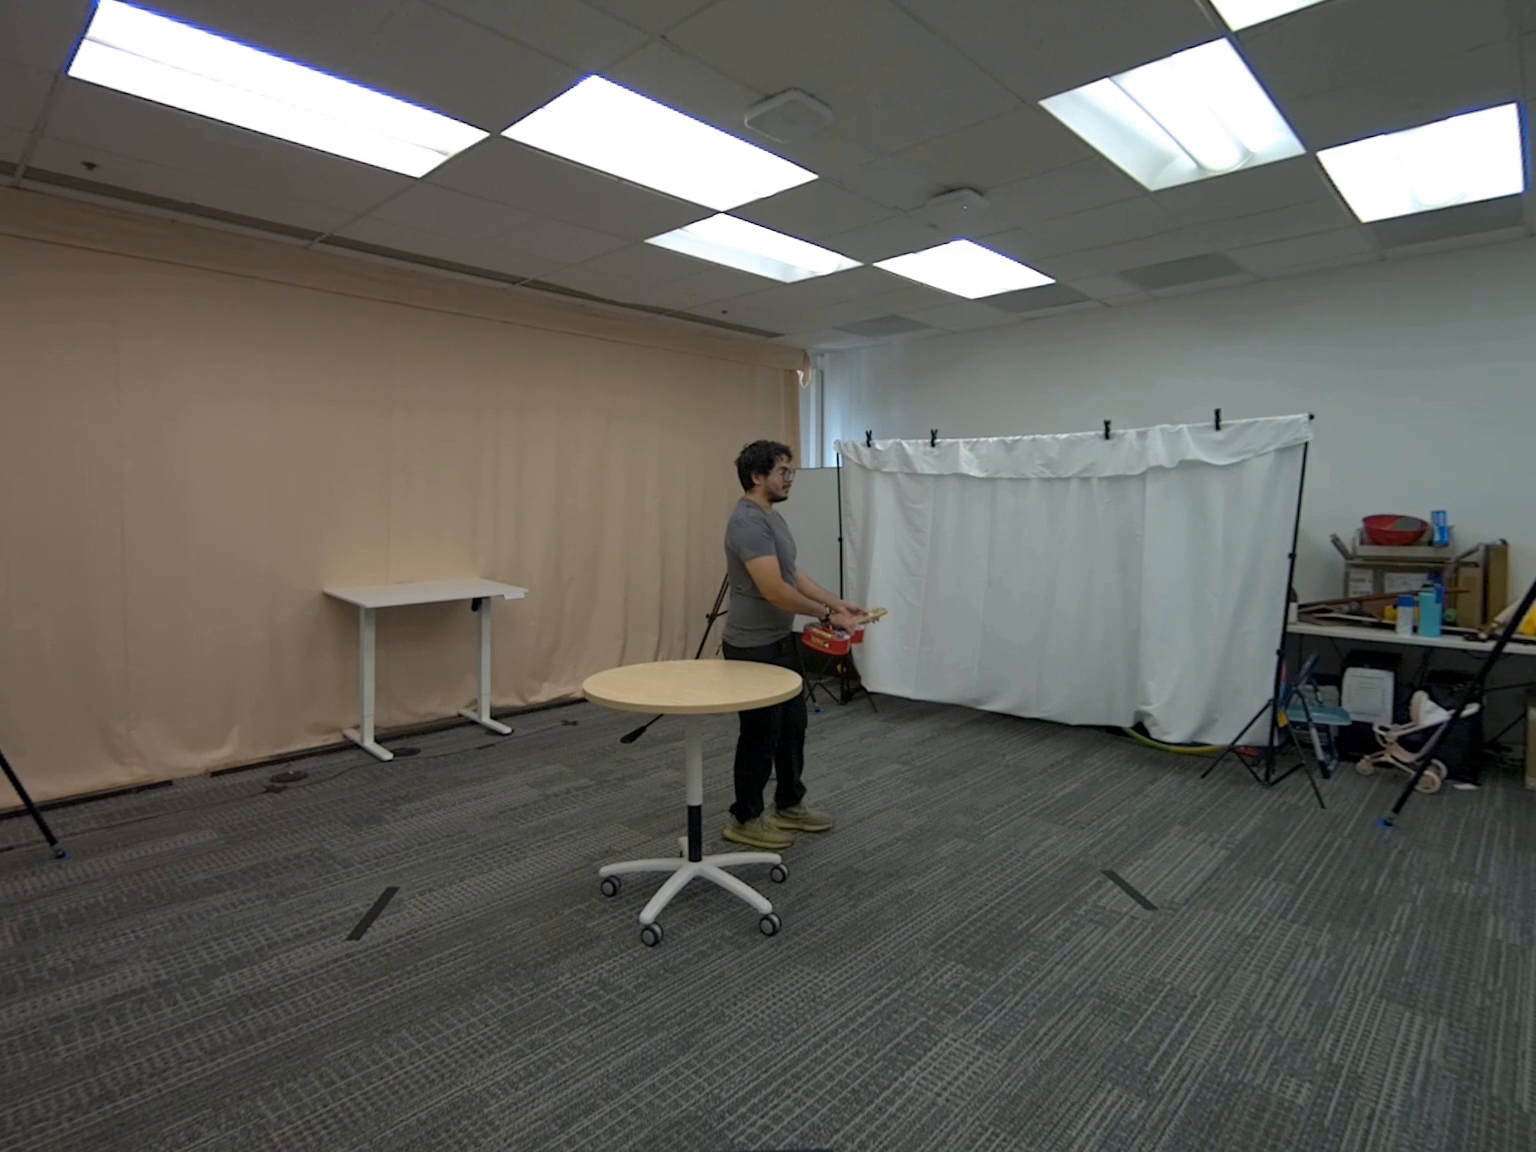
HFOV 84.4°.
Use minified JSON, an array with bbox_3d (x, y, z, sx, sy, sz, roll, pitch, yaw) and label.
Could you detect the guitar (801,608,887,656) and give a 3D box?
[{"bbox_3d":[0.373,0.223,3.386,0.483,0.070,0.200,-7,21,-38],"label":"guitar"}]
